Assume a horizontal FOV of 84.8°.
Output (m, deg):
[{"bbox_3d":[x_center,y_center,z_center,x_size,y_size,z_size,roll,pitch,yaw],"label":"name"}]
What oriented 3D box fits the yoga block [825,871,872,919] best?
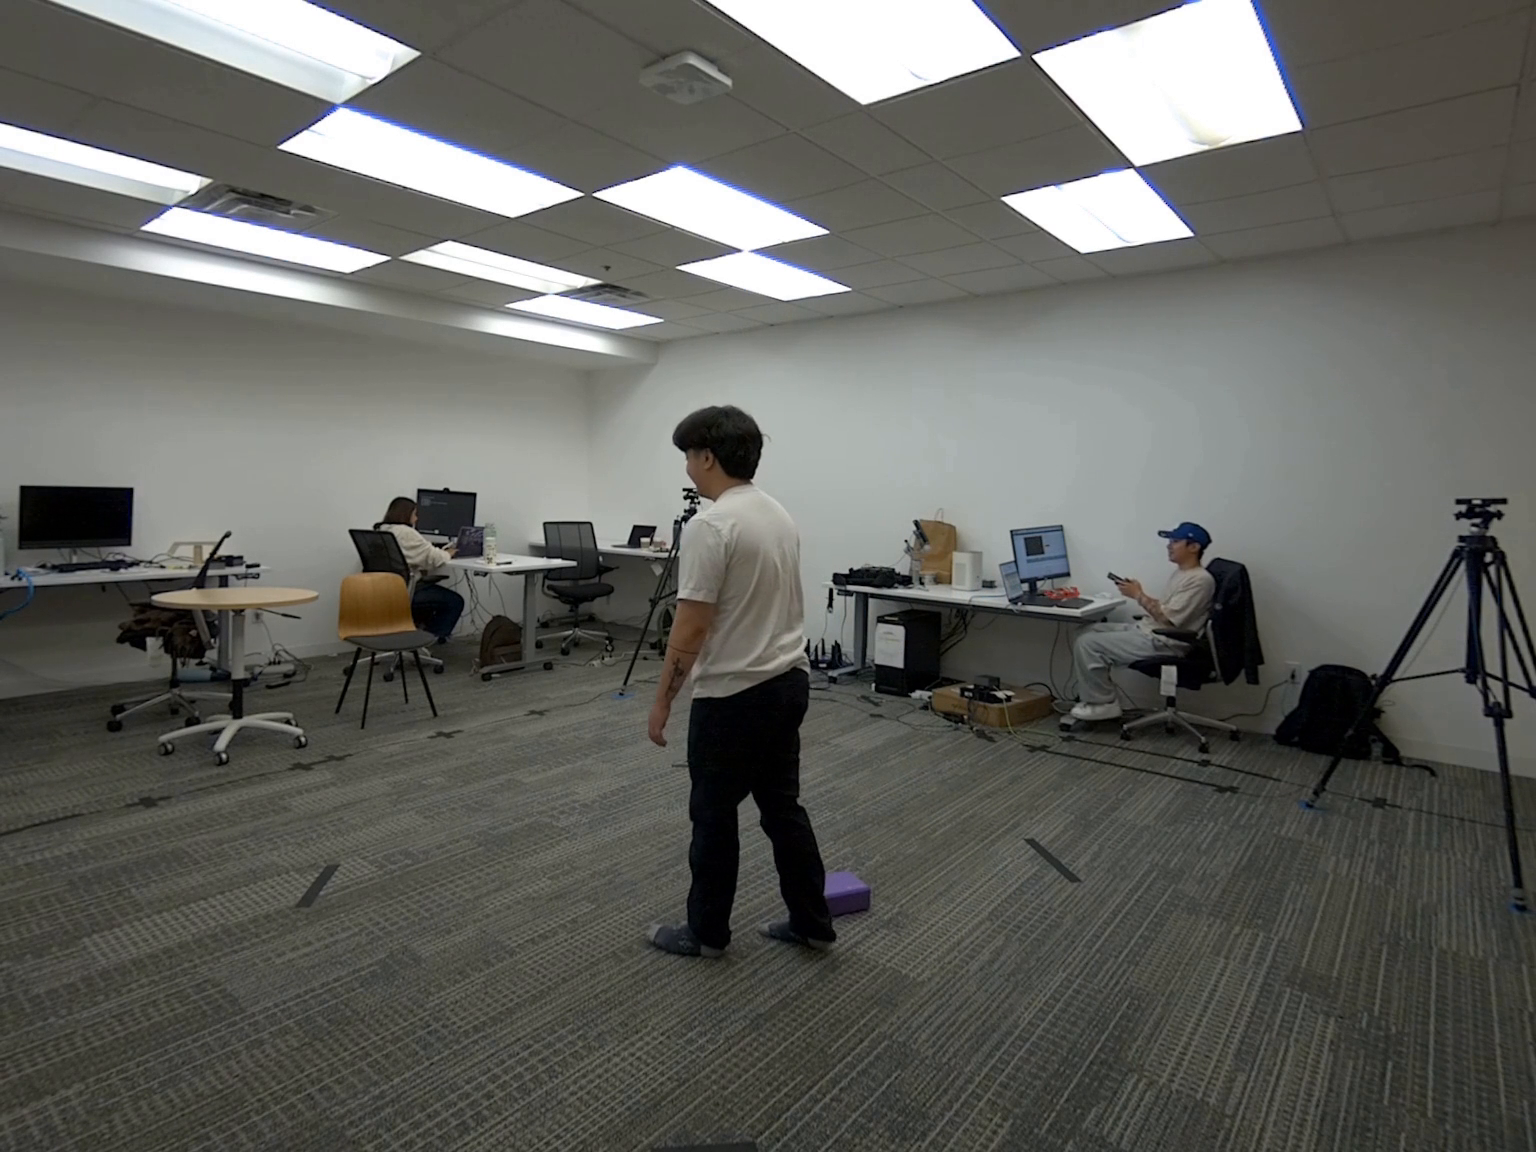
[{"bbox_3d":[0.204,1.064,2.853,0.224,0.076,0.153,0,5,-25],"label":"yoga block"}]
